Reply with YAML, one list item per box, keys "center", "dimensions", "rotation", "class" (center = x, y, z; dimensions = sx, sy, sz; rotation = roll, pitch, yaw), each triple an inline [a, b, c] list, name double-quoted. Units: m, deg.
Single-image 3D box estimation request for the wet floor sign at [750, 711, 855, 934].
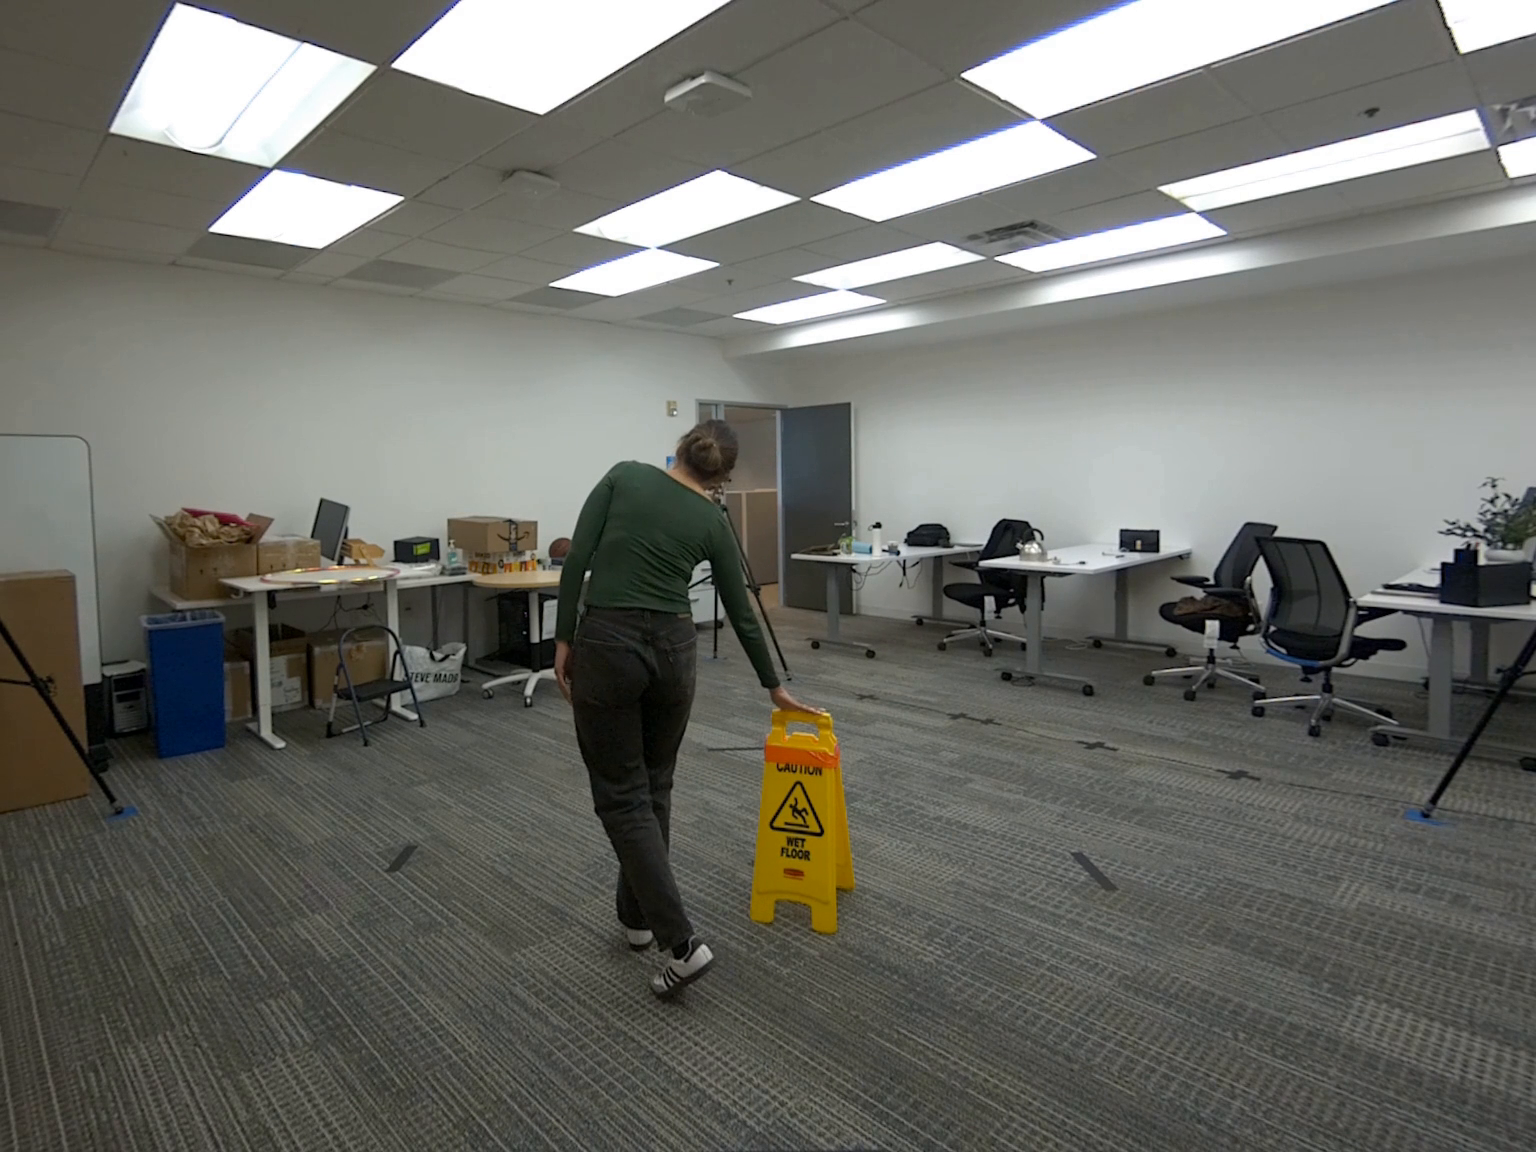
- center: [0.119, 0.757, 2.784]
  dimensions: [0.287, 0.644, 0.285]
  rotation: [2, 4, 19]
  class: "wet floor sign"
